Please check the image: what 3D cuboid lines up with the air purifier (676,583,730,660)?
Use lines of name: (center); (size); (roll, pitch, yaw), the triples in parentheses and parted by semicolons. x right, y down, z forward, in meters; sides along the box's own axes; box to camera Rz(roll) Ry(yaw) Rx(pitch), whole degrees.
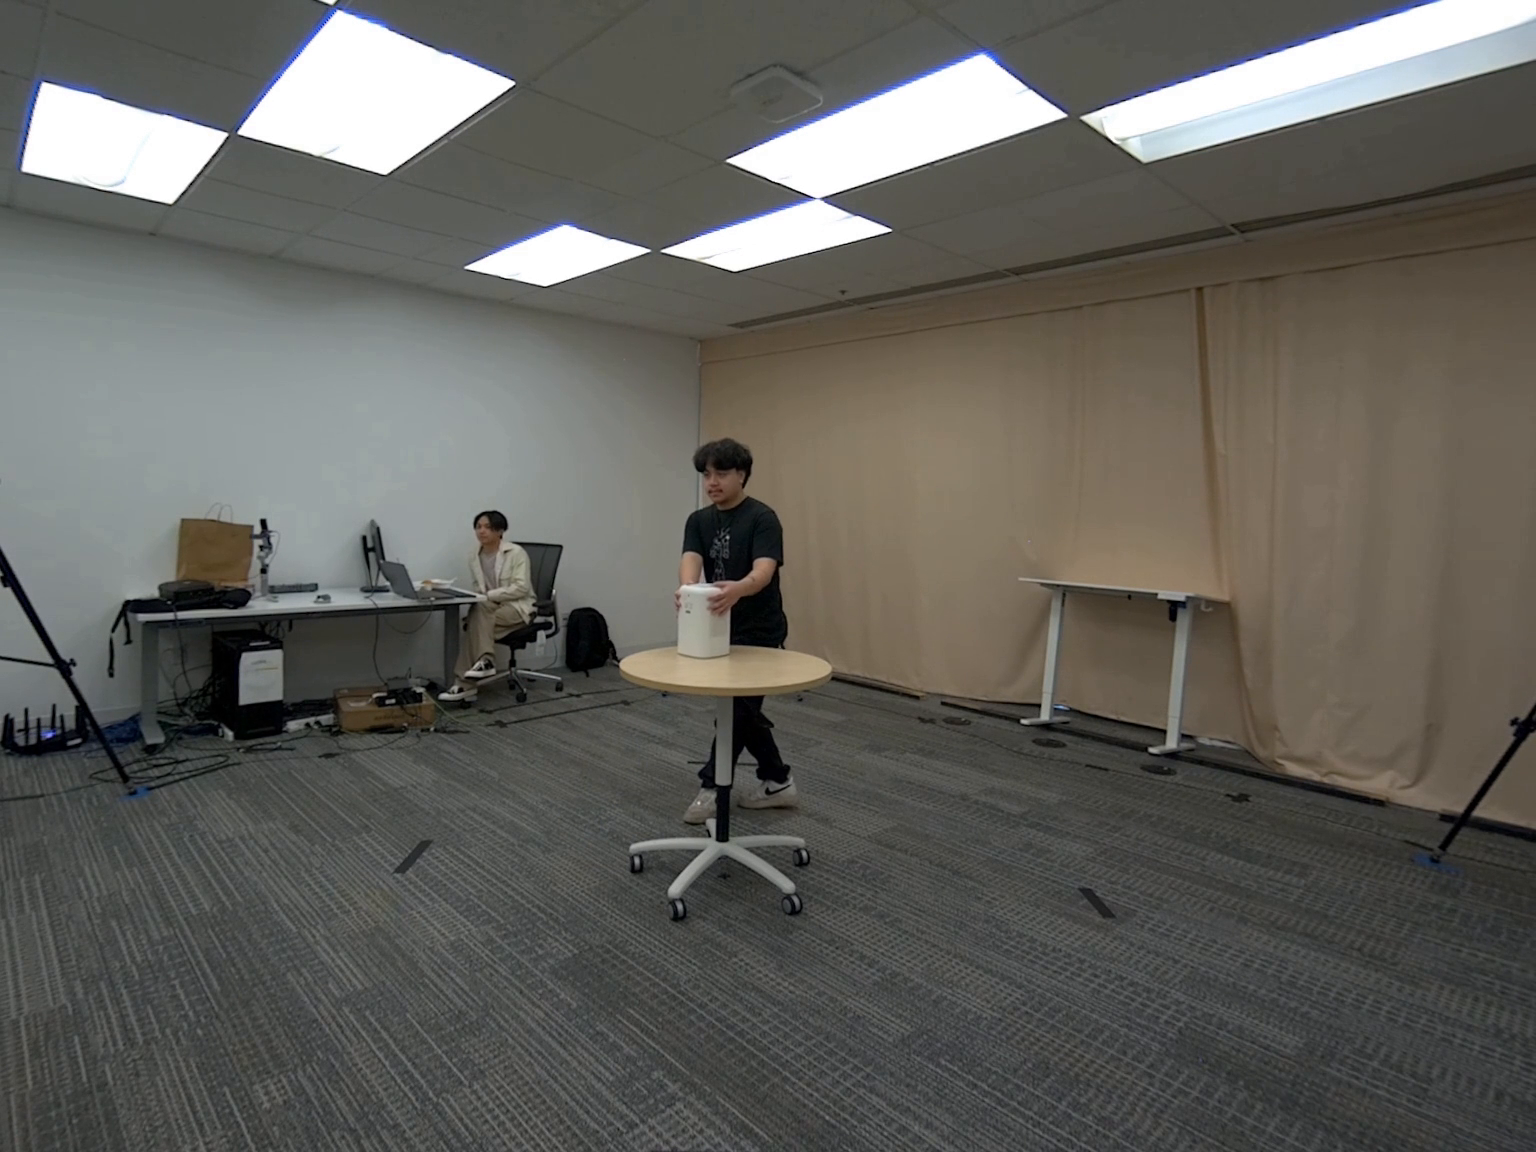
air purifier: (-0.252, 0.170, 3.224); (0.175, 0.265, 0.168); (5, 5, 44)
